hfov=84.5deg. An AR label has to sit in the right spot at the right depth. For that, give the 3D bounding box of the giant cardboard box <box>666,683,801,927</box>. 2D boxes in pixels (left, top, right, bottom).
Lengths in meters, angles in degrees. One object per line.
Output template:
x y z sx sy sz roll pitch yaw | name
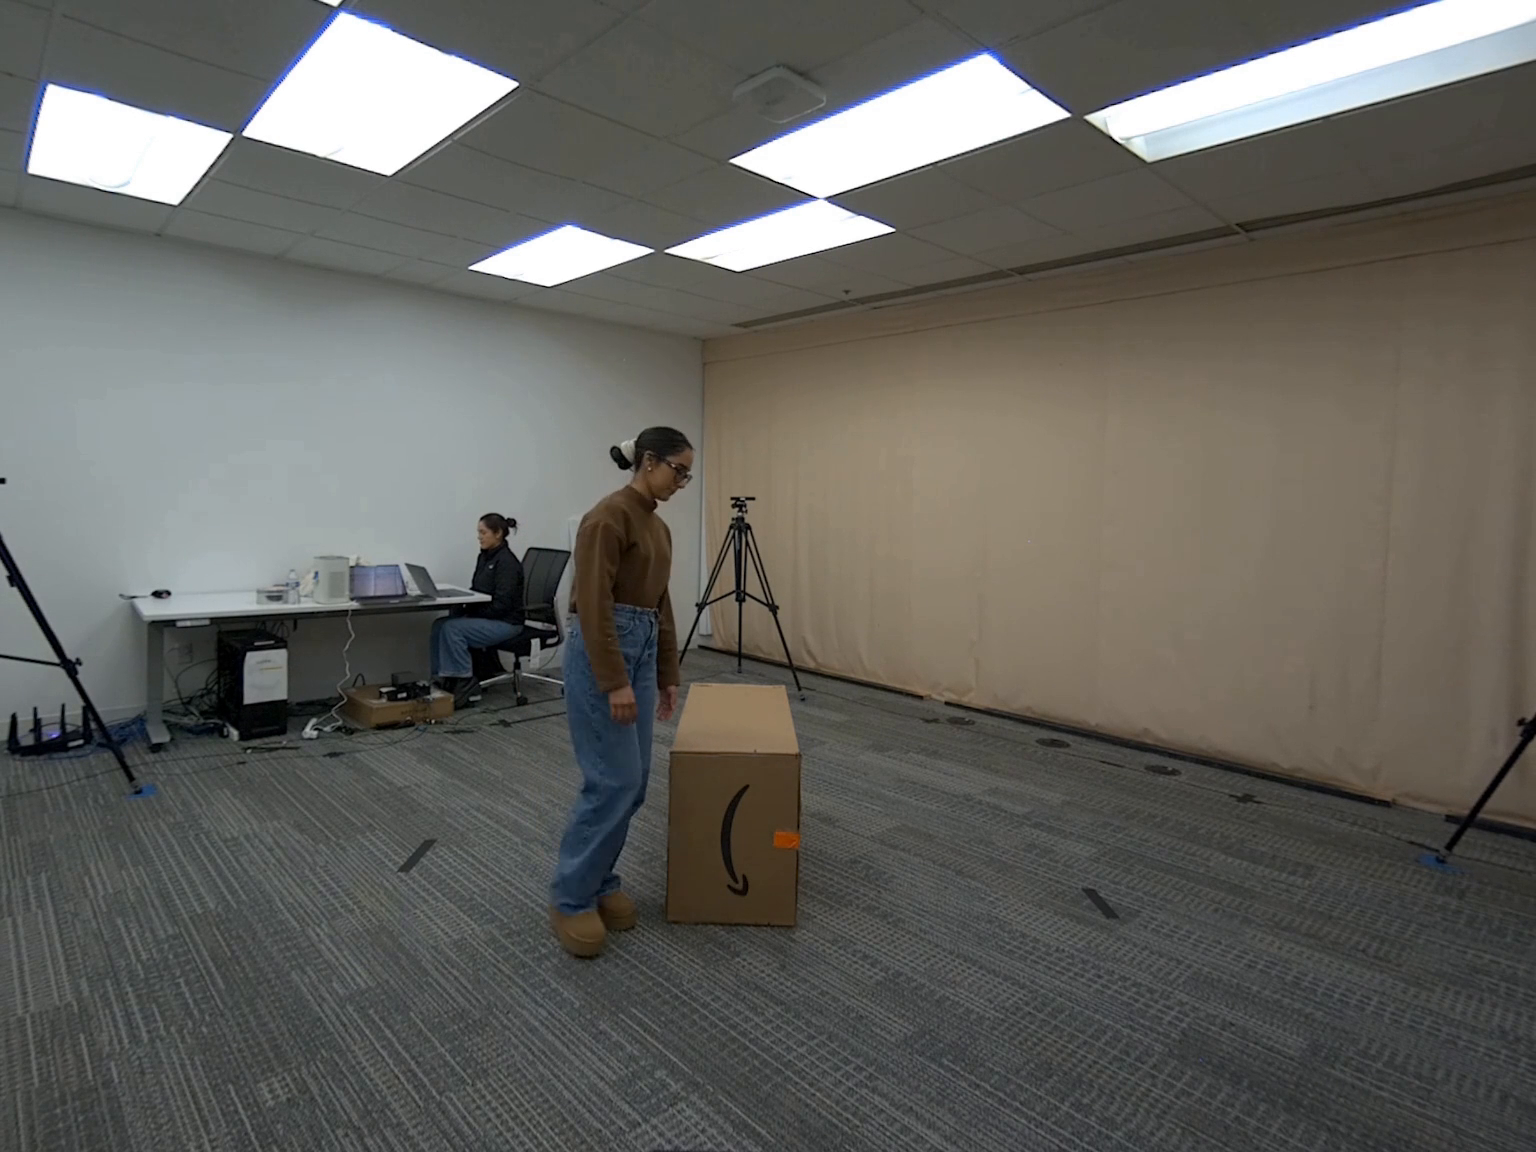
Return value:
-0.125 0.807 3.234 0.426 0.576 1.029 2 5 -2 | giant cardboard box
